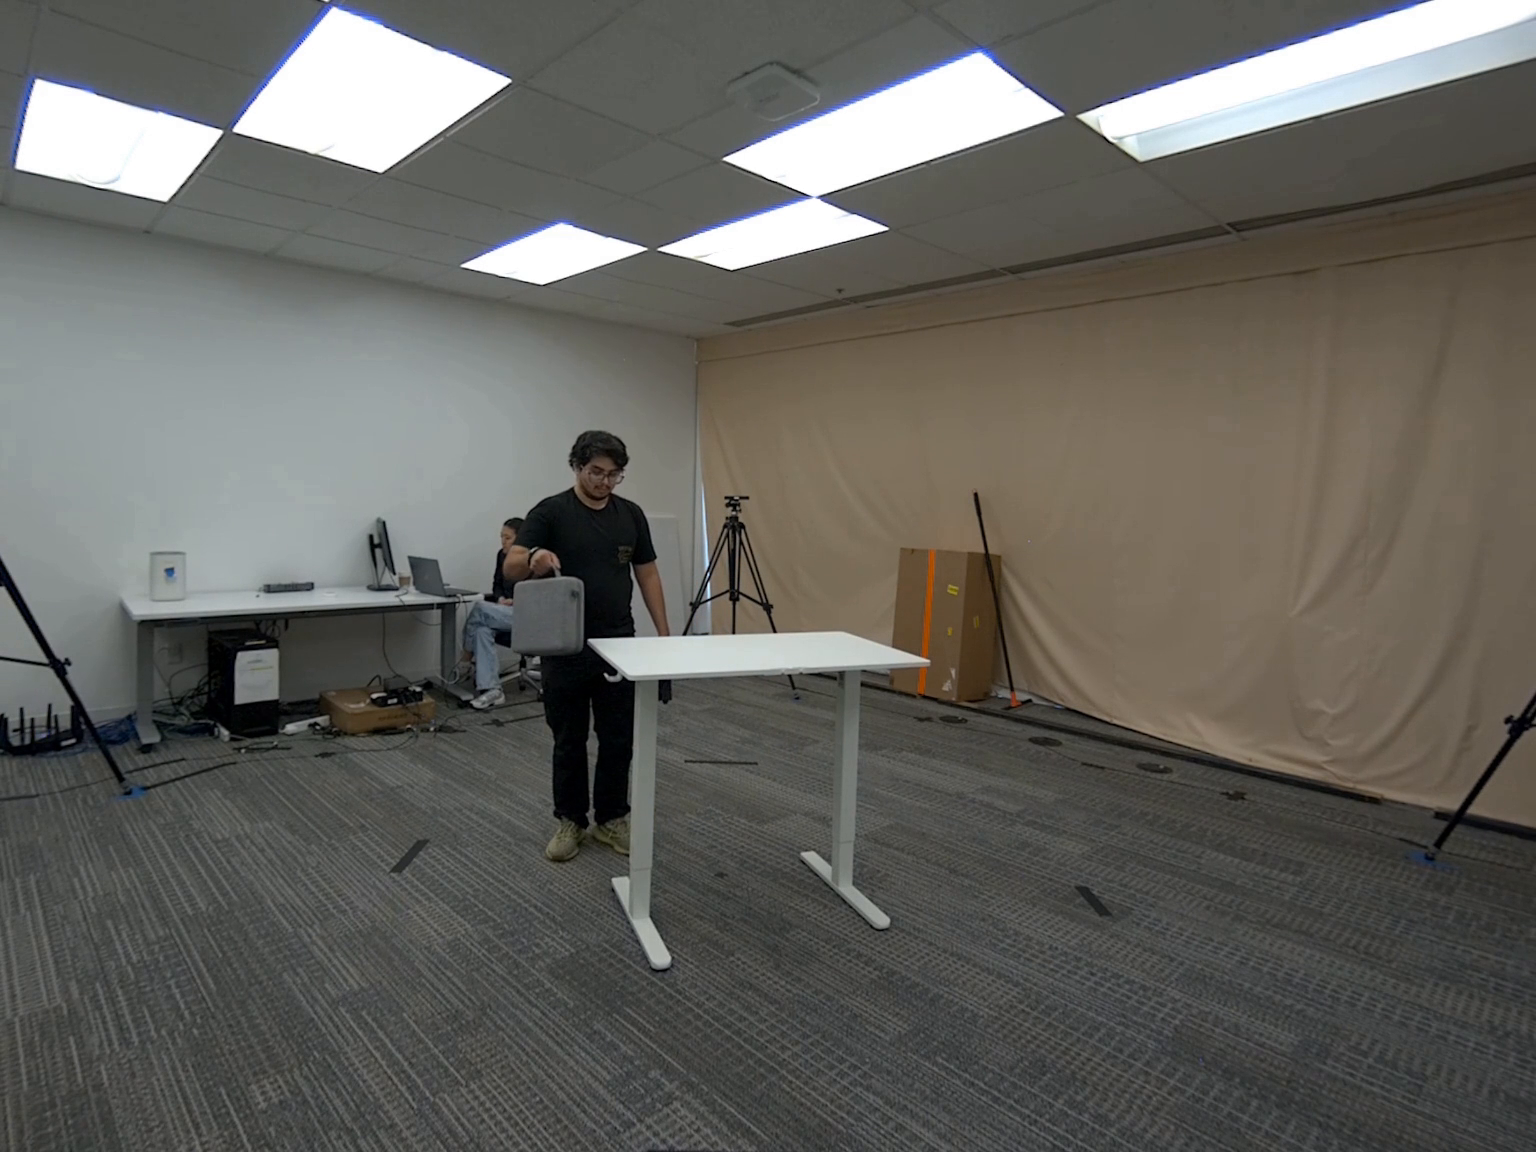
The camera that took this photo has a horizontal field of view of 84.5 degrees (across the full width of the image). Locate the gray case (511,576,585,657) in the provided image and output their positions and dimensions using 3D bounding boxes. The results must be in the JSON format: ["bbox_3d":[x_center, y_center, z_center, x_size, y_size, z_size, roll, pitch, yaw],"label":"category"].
[{"bbox_3d":[-0.753,0.140,2.829,0.262,0.262,0.101,-8,-11,32],"label":"gray case"}]
